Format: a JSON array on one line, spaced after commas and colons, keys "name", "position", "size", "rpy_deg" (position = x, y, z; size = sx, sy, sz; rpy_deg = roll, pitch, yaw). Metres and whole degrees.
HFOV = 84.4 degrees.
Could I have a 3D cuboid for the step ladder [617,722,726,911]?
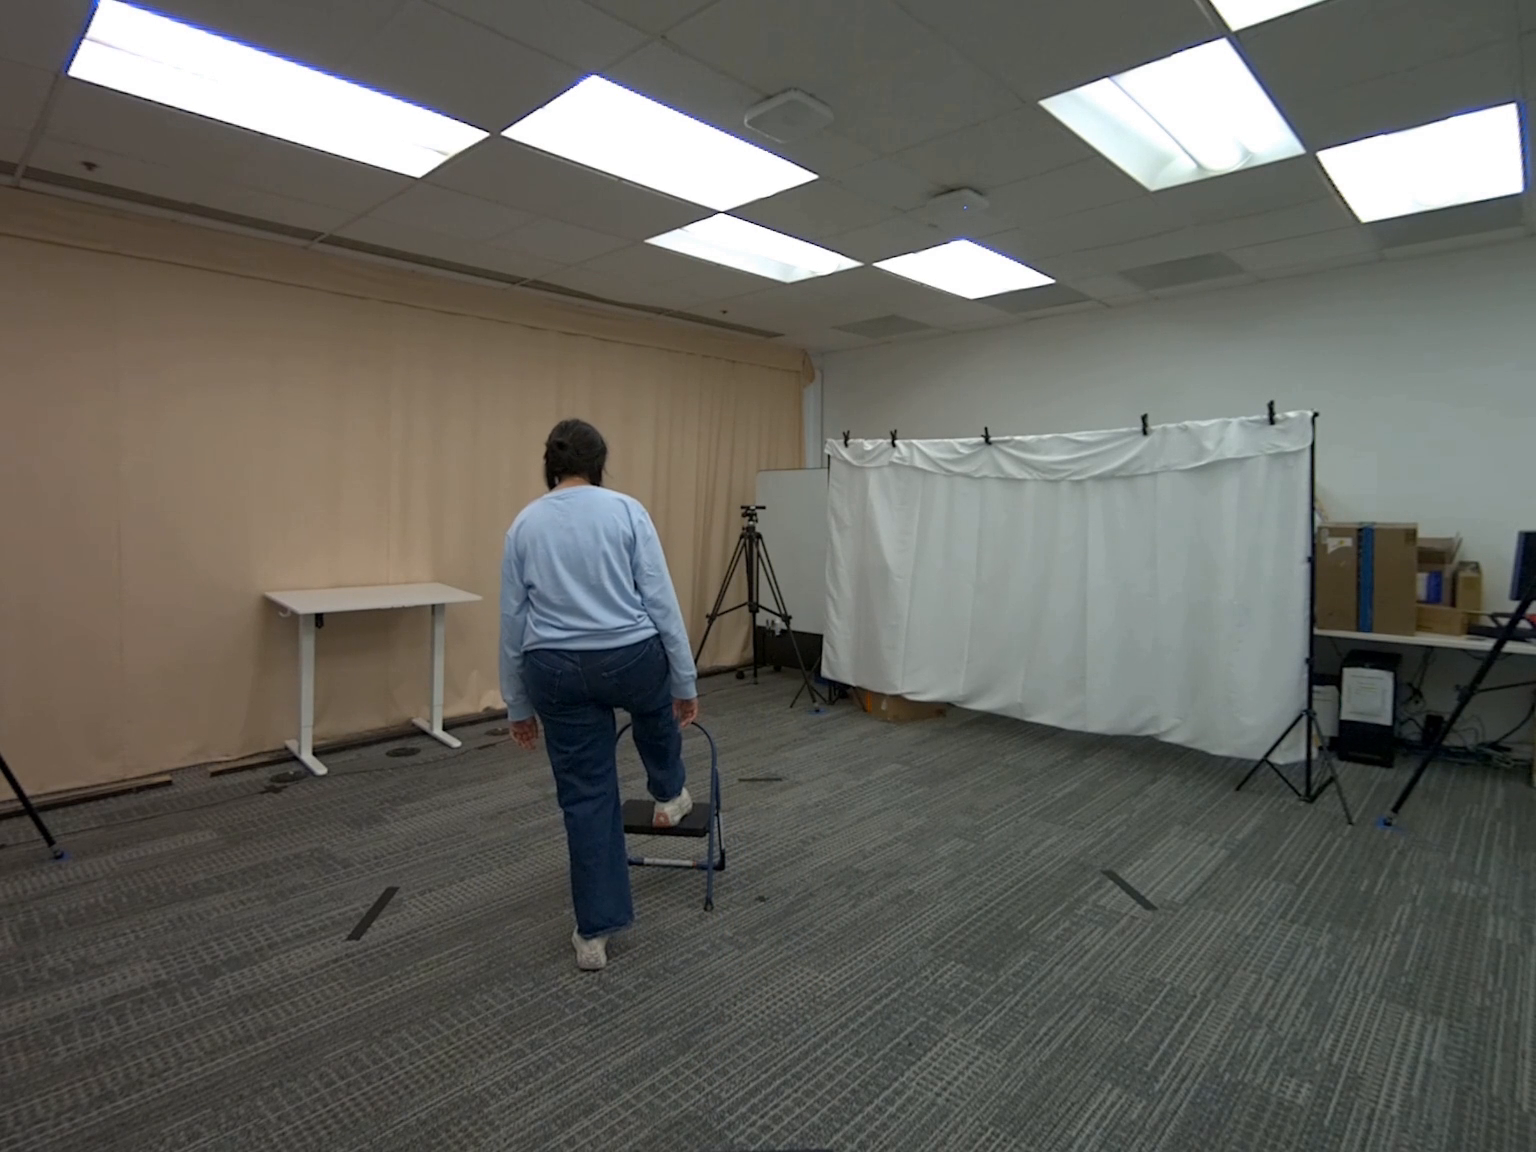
[{"name": "step ladder", "position": [-0.382, 0.838, 3.089], "size": [0.435, 0.605, 0.346], "rpy_deg": [0, 3, 8]}]
